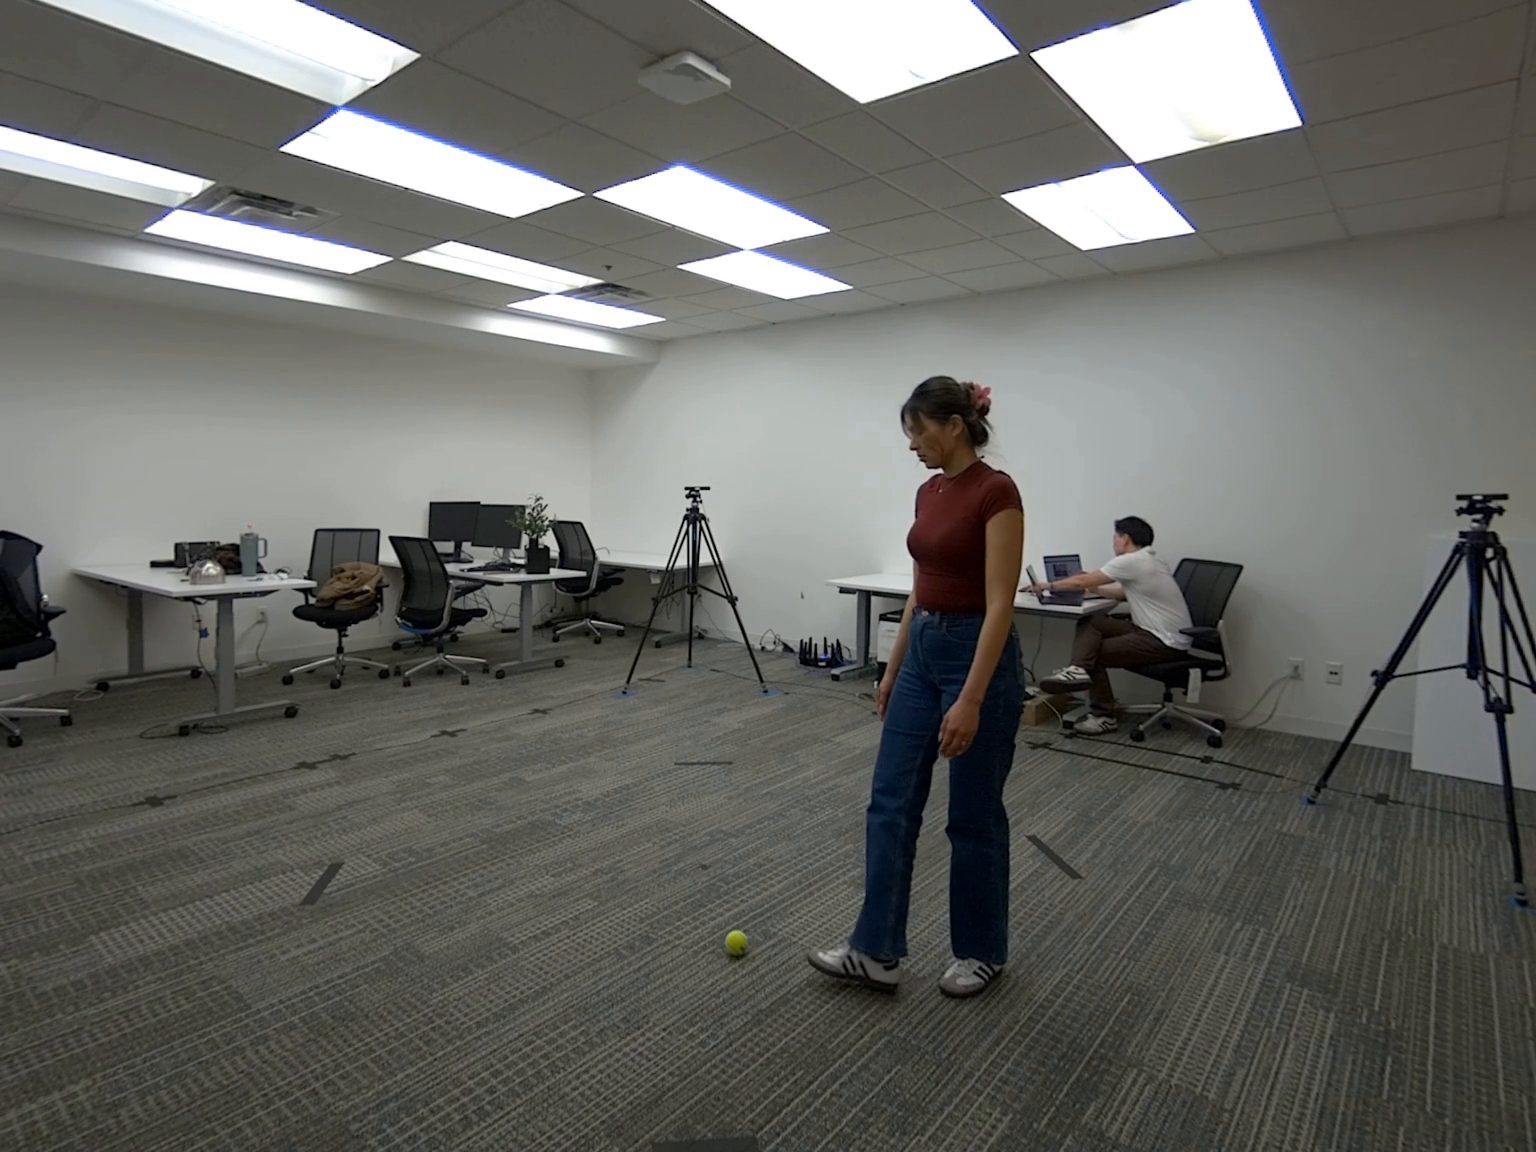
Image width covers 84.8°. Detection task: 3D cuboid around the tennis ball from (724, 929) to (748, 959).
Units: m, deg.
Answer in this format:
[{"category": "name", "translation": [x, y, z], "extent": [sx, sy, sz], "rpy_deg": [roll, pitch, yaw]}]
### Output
[{"category": "tennis ball", "translation": [-0.094, 1.083, 2.538], "extent": [0.066, 0.066, 0.067], "rpy_deg": [1, 4, -2]}]
